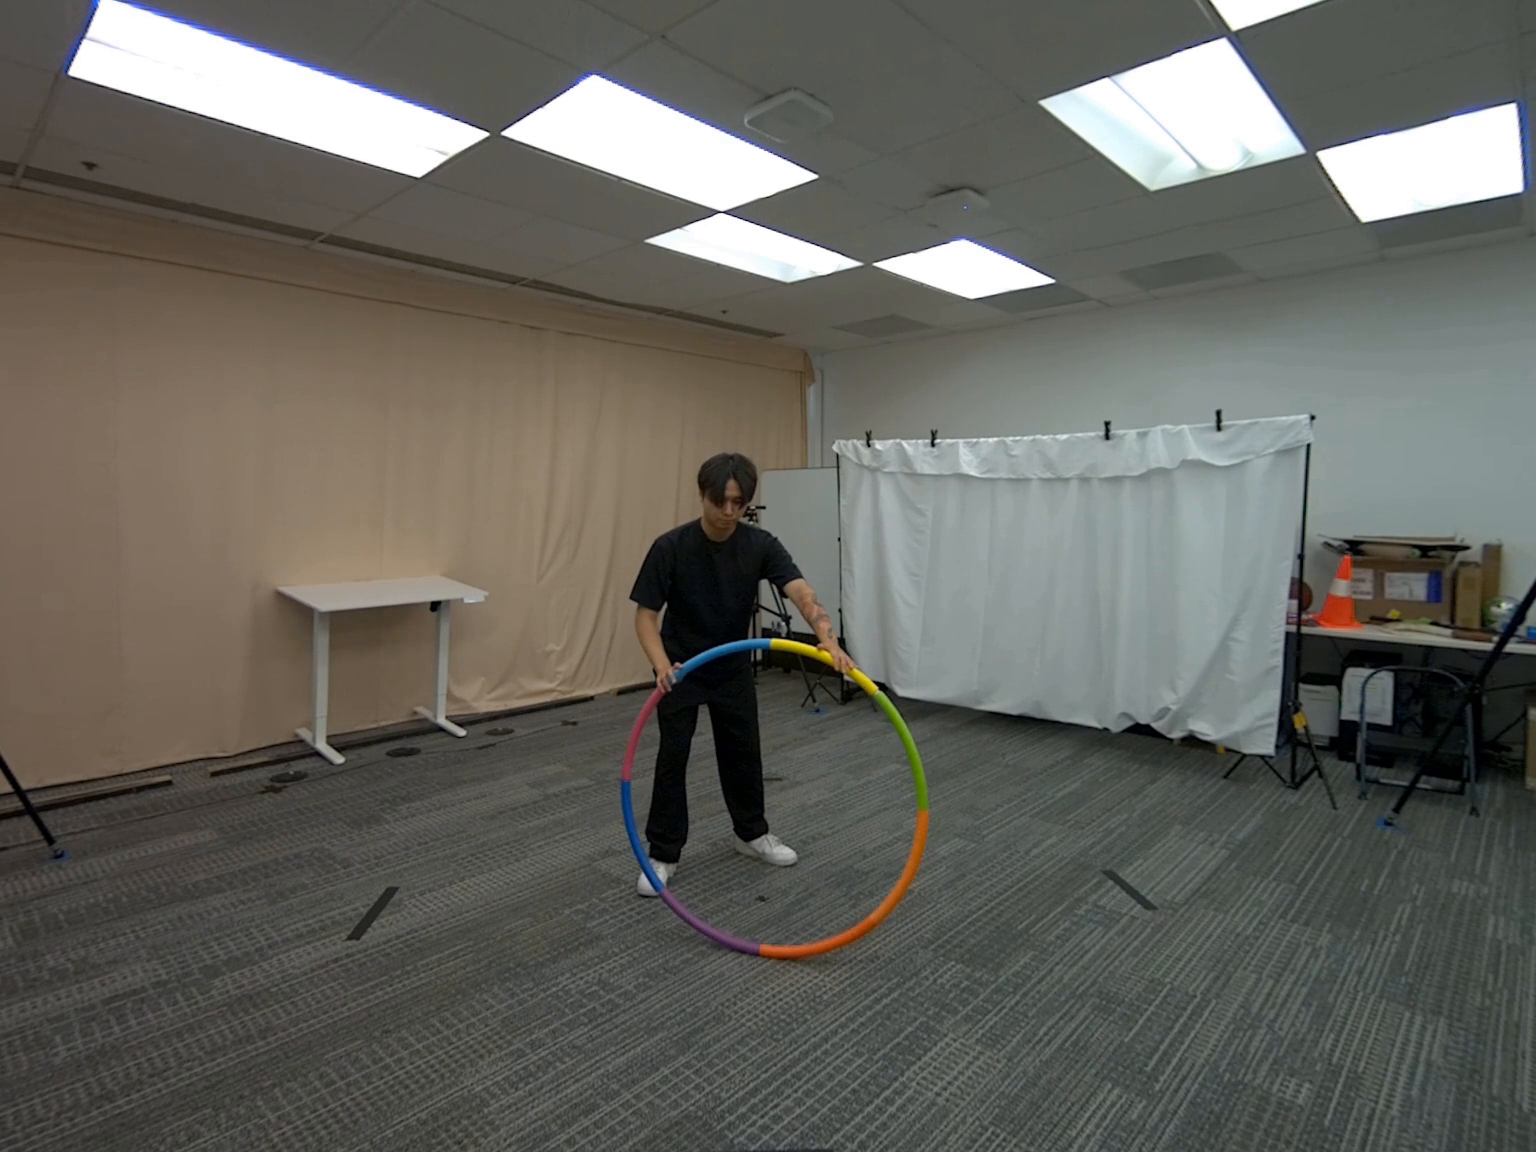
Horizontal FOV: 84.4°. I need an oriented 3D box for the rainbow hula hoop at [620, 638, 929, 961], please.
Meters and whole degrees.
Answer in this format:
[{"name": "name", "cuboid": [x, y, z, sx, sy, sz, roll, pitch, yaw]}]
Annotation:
[{"name": "rainbow hula hoop", "cuboid": [0.008, 0.697, 2.650, 0.995, 0.982, 0.035, 1, -6, 16]}]
